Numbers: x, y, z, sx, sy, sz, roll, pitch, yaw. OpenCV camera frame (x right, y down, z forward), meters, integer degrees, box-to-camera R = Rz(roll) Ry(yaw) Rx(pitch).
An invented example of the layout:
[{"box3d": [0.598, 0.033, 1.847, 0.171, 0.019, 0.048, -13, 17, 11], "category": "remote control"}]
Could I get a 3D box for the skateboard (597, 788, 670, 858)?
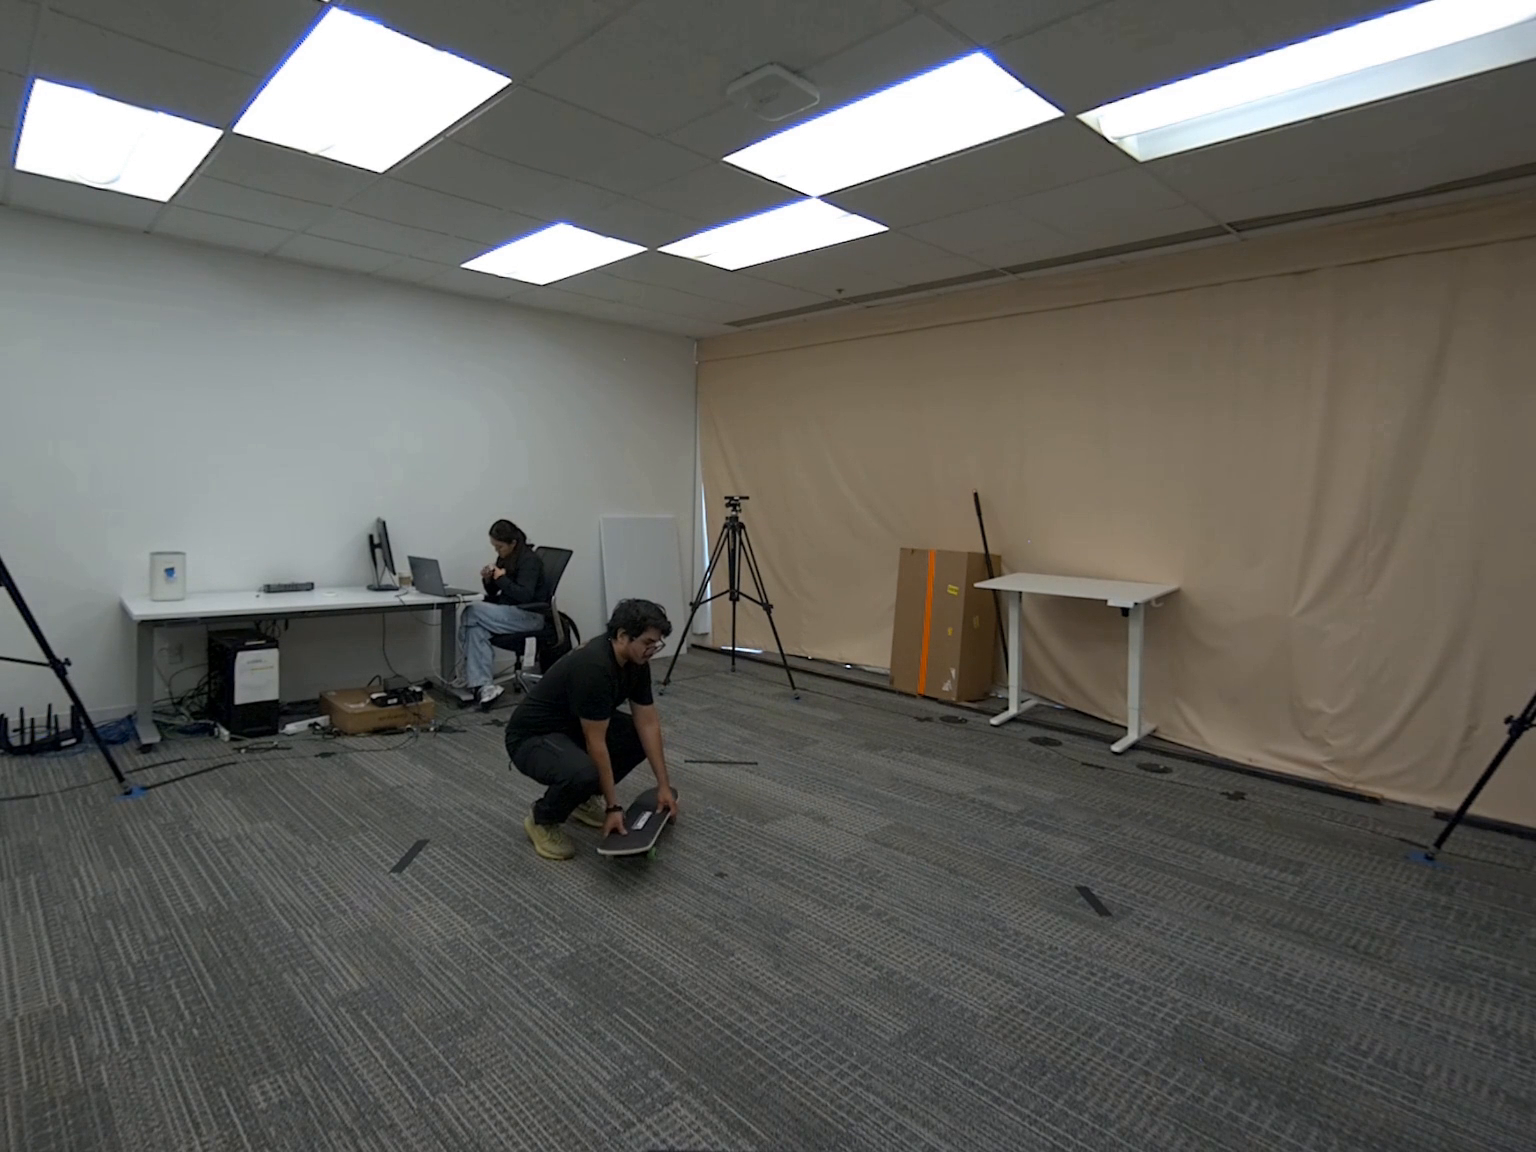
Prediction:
[{"box3d": [-0.503, 1.000, 3.317, 0.194, 0.110, 0.782, -3, 2, 5], "category": "skateboard"}]
